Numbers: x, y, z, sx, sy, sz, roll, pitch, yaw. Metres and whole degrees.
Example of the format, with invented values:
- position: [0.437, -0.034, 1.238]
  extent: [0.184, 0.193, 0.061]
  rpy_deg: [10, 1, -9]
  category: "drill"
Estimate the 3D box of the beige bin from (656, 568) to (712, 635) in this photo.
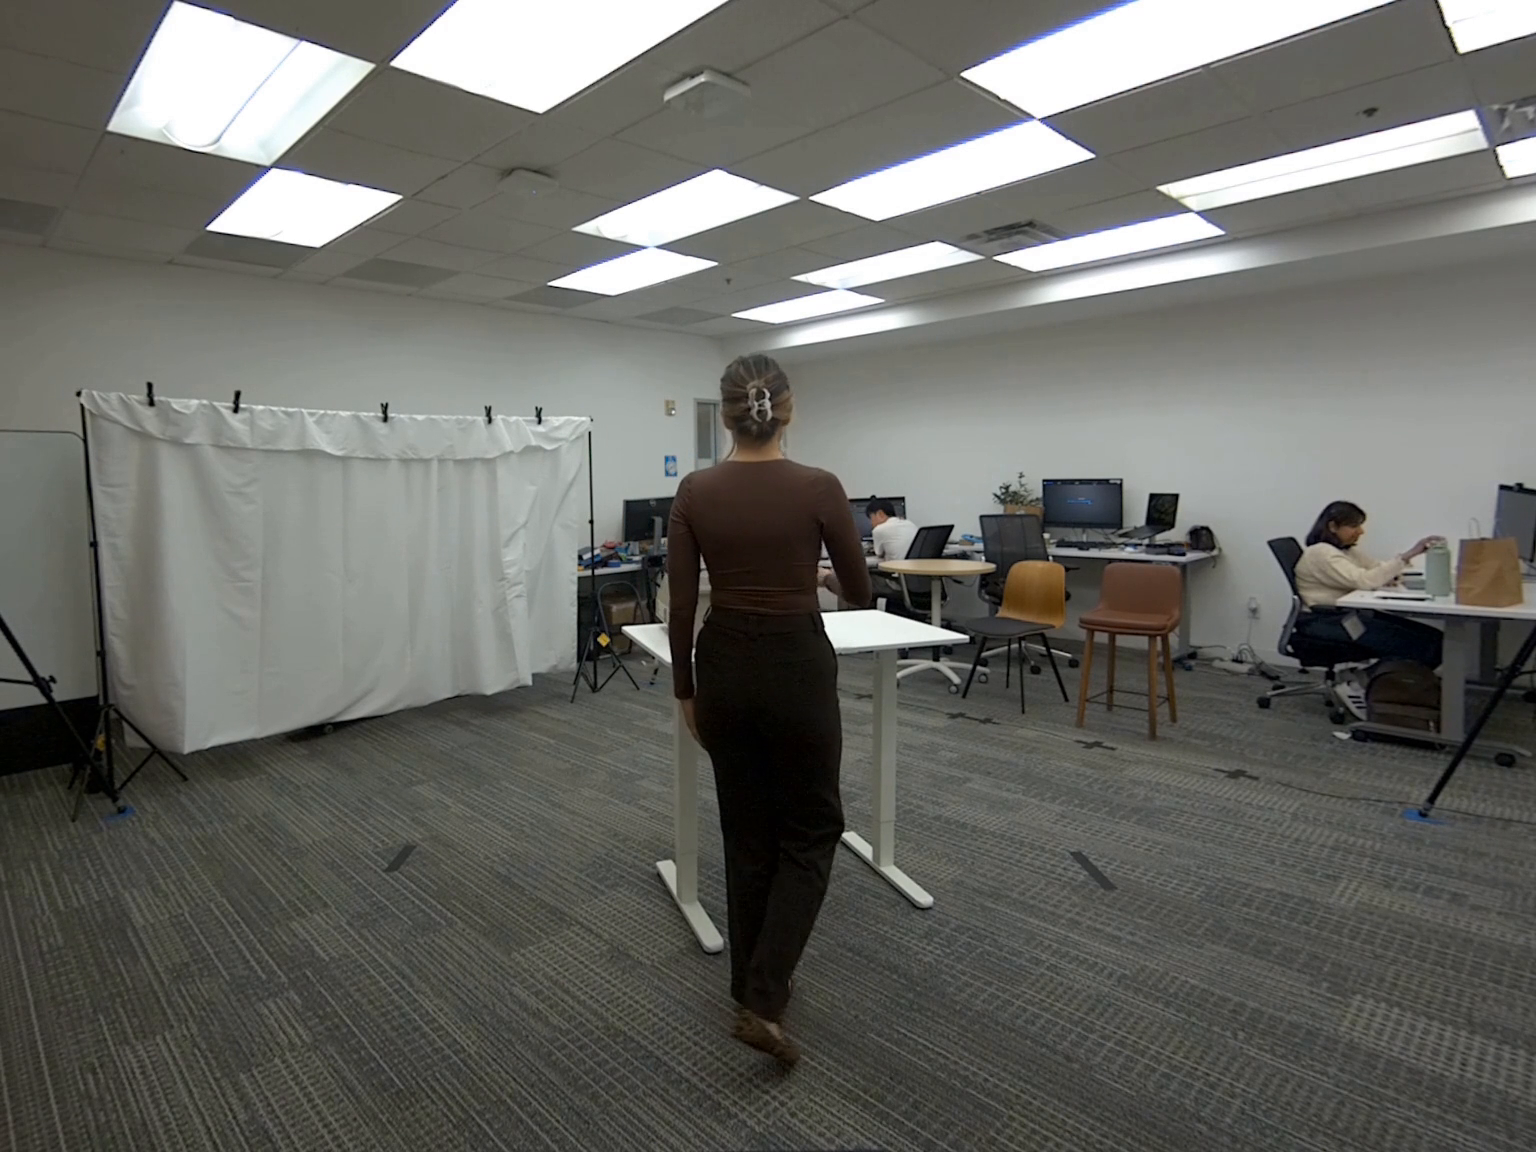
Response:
- position: [-0.141, 0.105, 2.810]
  extent: [0.372, 0.188, 0.430]
  rpy_deg: [-2, 6, -17]
  category: "beige bin"
